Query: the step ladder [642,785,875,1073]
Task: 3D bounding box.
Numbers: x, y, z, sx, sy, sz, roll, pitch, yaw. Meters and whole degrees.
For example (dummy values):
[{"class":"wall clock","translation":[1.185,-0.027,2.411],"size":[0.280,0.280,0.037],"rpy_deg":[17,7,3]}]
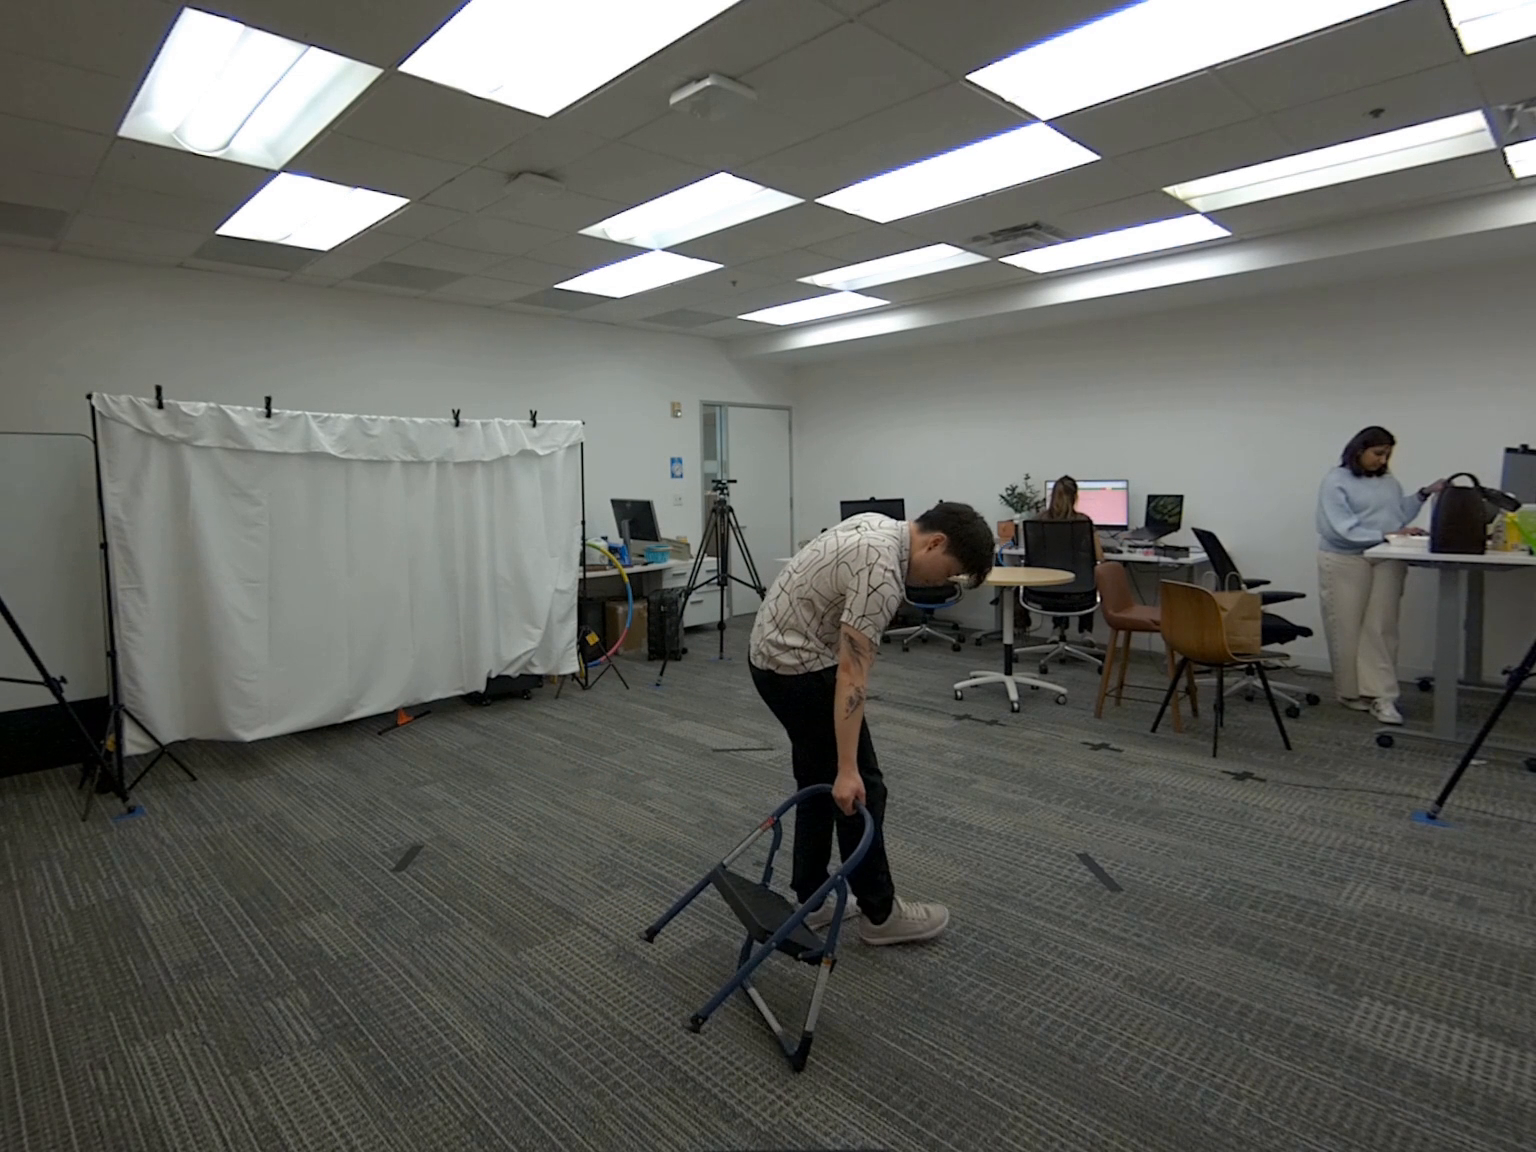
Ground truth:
[{"class":"step ladder","translation":[0.016,0.814,2.188],"size":[0.341,0.607,0.440],"rpy_deg":[32,-7,-21]}]
